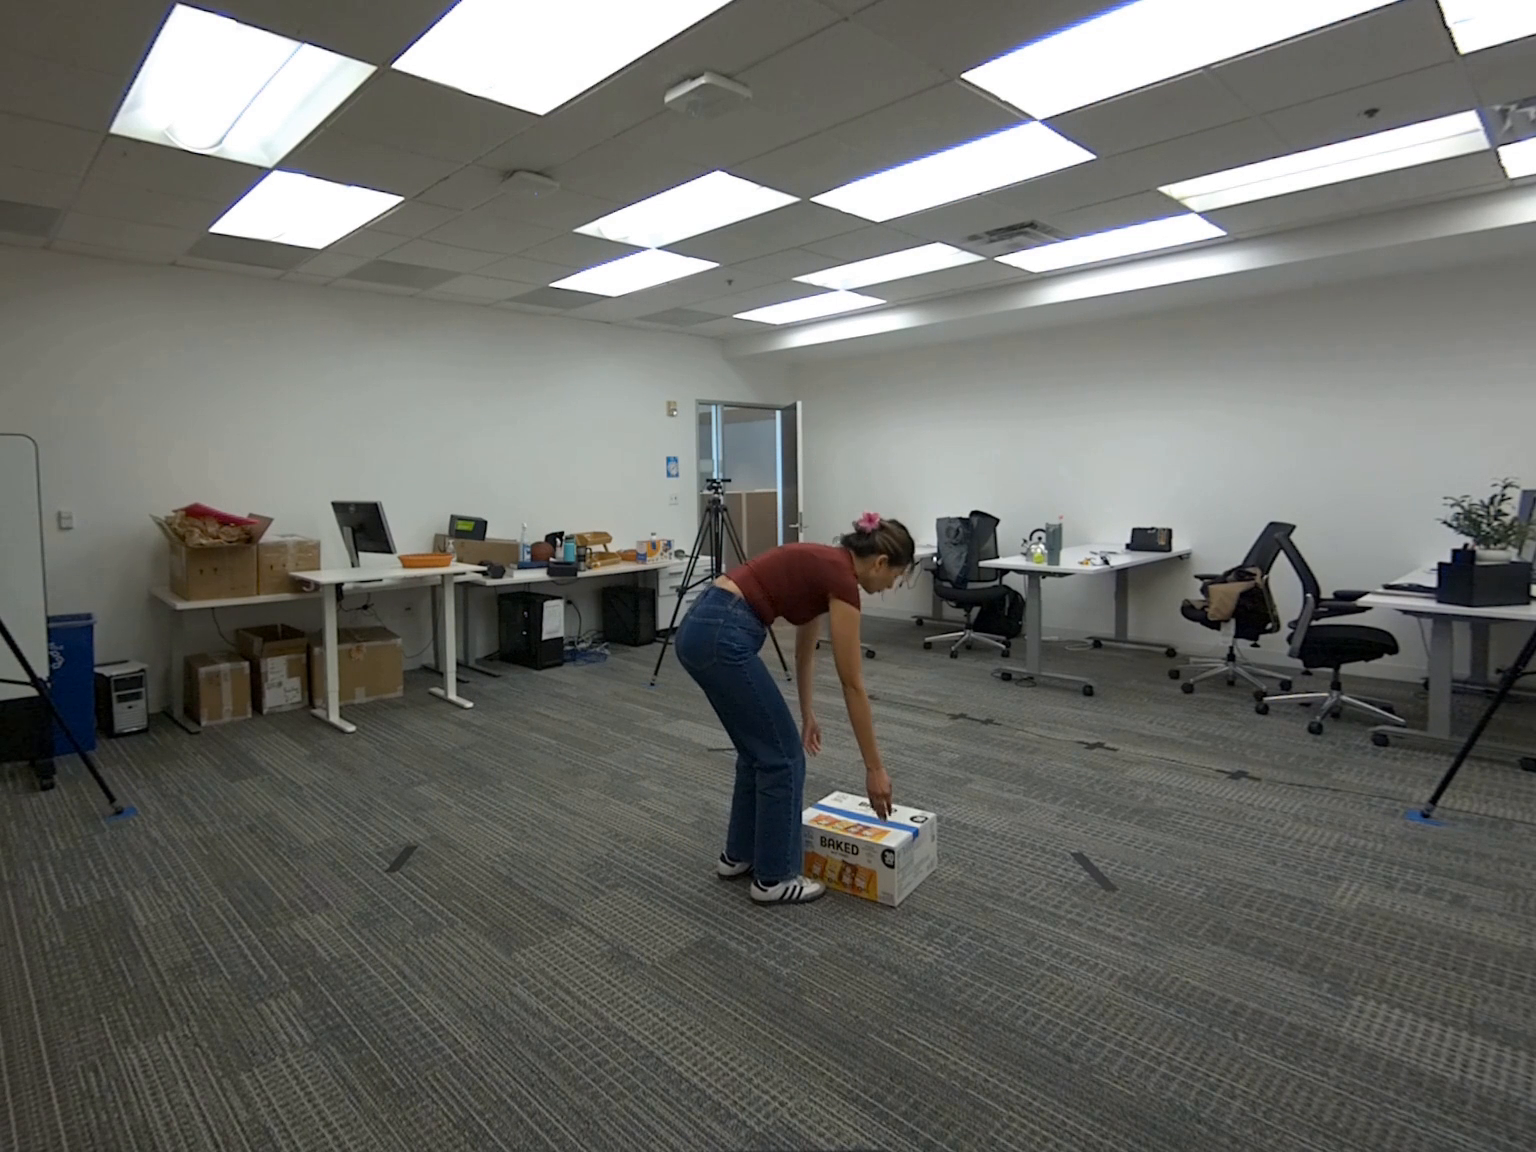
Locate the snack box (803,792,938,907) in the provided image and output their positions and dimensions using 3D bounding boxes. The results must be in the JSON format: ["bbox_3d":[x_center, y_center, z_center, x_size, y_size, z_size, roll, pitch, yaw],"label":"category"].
[{"bbox_3d":[0.335,0.946,3.006,0.417,0.205,0.332,3,7,35],"label":"snack box"}]
